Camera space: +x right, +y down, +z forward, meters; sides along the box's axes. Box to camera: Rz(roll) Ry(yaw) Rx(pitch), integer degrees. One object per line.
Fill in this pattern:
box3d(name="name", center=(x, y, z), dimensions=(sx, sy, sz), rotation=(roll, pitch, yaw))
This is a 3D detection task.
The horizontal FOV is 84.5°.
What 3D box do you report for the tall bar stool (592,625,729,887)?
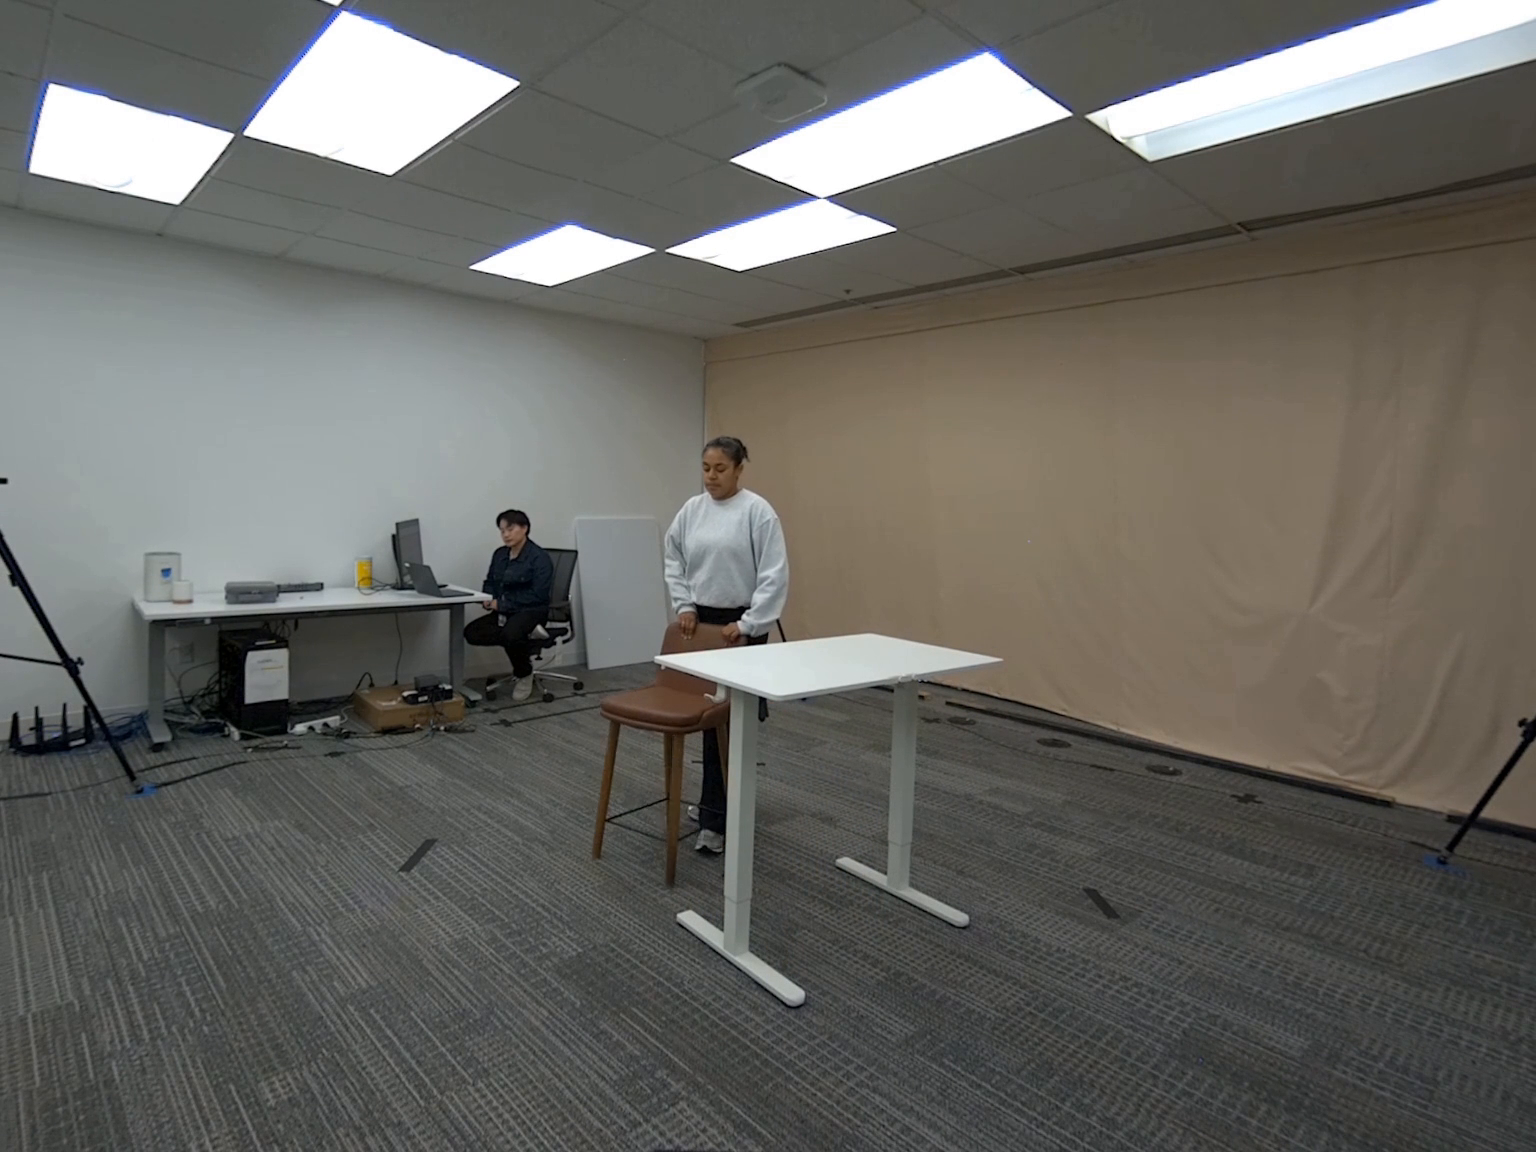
box3d(name="tall bar stool", center=(-0.375, 0.650, 3.271), dimensions=(0.467, 0.889, 0.457), rotation=(3, 1, 36))
